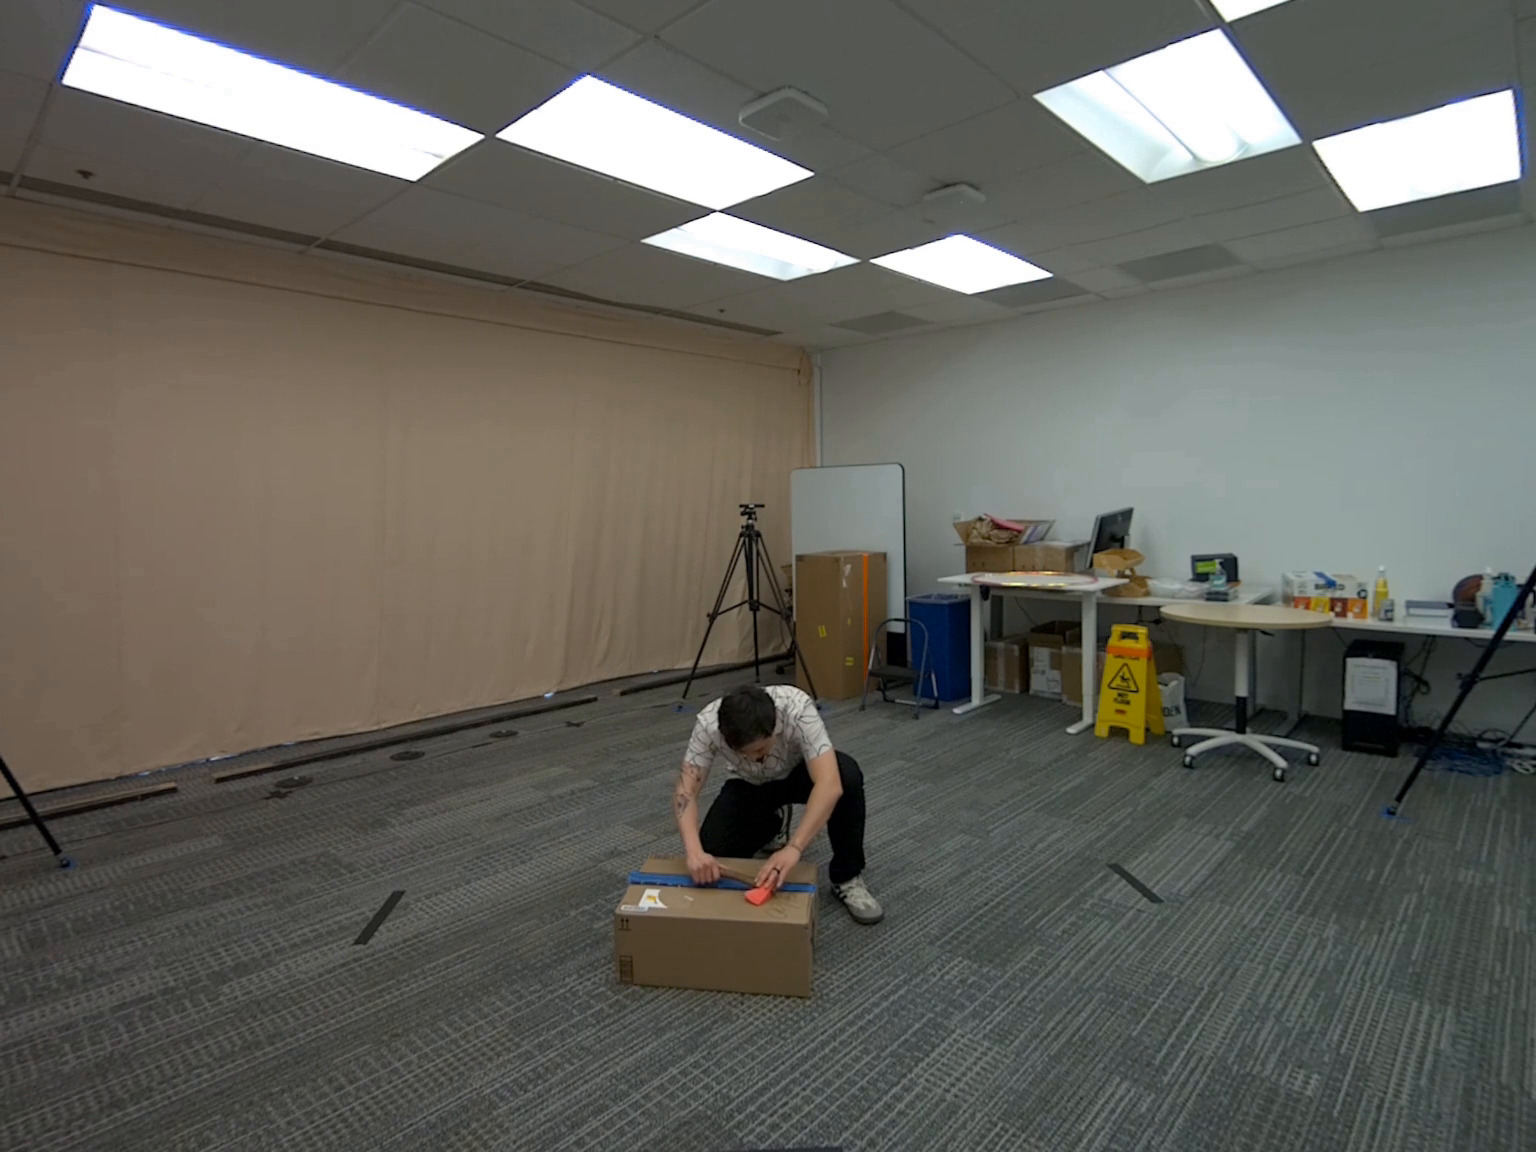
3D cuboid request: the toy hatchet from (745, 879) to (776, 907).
[{"bbox_3d":[-0.102,0.939,2.544,0.274,0.029,0.131,-8,24,14],"label":"toy hatchet"}]
